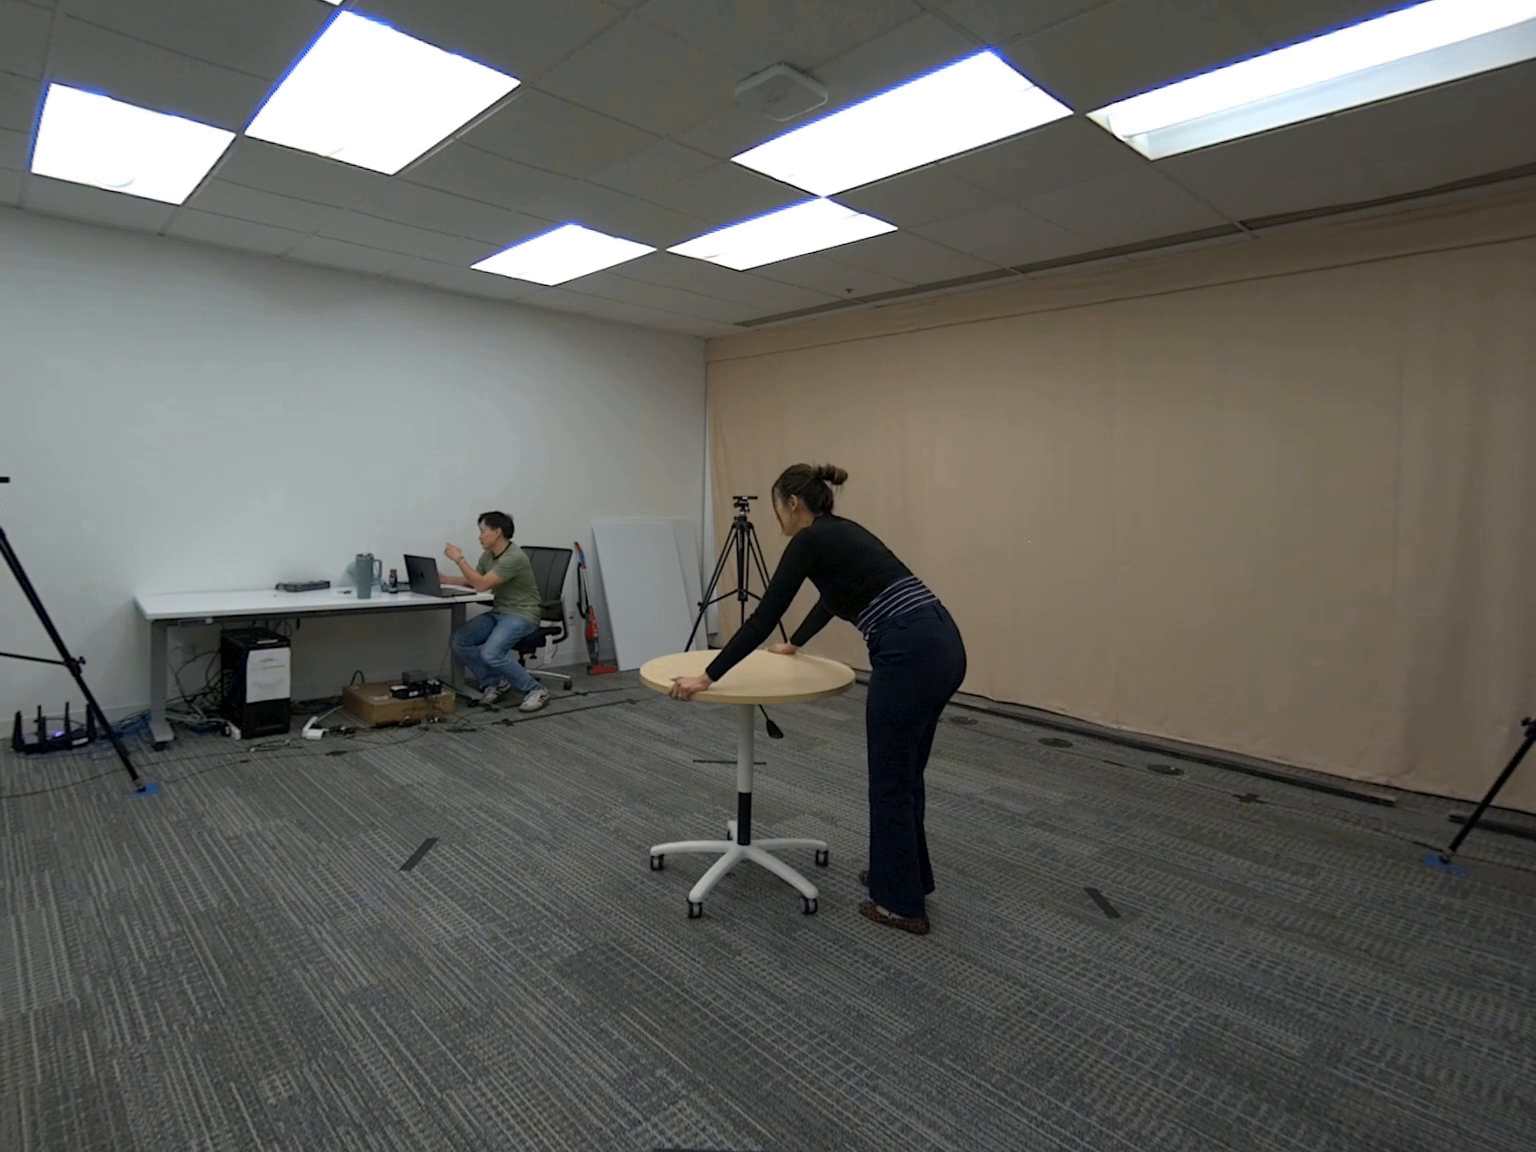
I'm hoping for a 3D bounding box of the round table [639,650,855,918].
[{"bbox_3d":[-0.094,0.726,3.037,0.763,0.791,0.767,1,4,-1],"label":"round table"}]
